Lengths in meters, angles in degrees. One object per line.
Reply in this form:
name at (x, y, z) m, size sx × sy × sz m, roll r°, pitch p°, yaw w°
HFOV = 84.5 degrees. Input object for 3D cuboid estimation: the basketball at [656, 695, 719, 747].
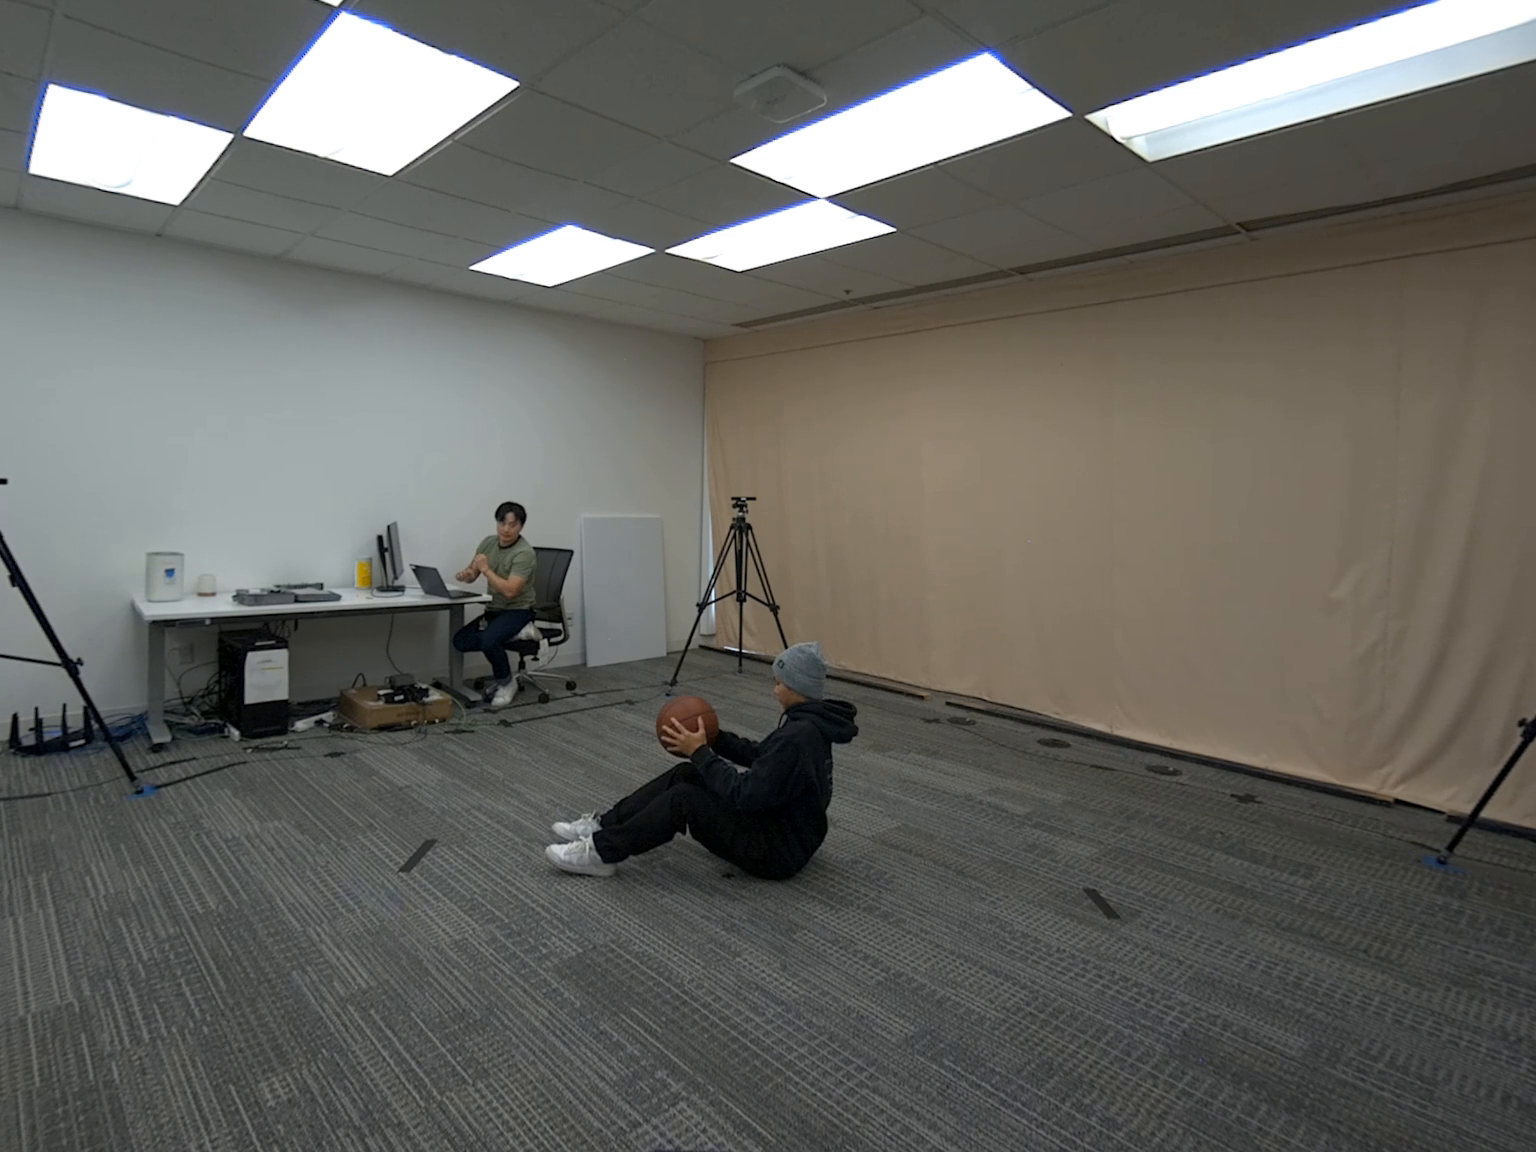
basketball at (-0.306, 0.574, 3.213) m, size 0.236 × 0.235 × 0.237 m, roll 1°, pitch 4°, yaw -1°
